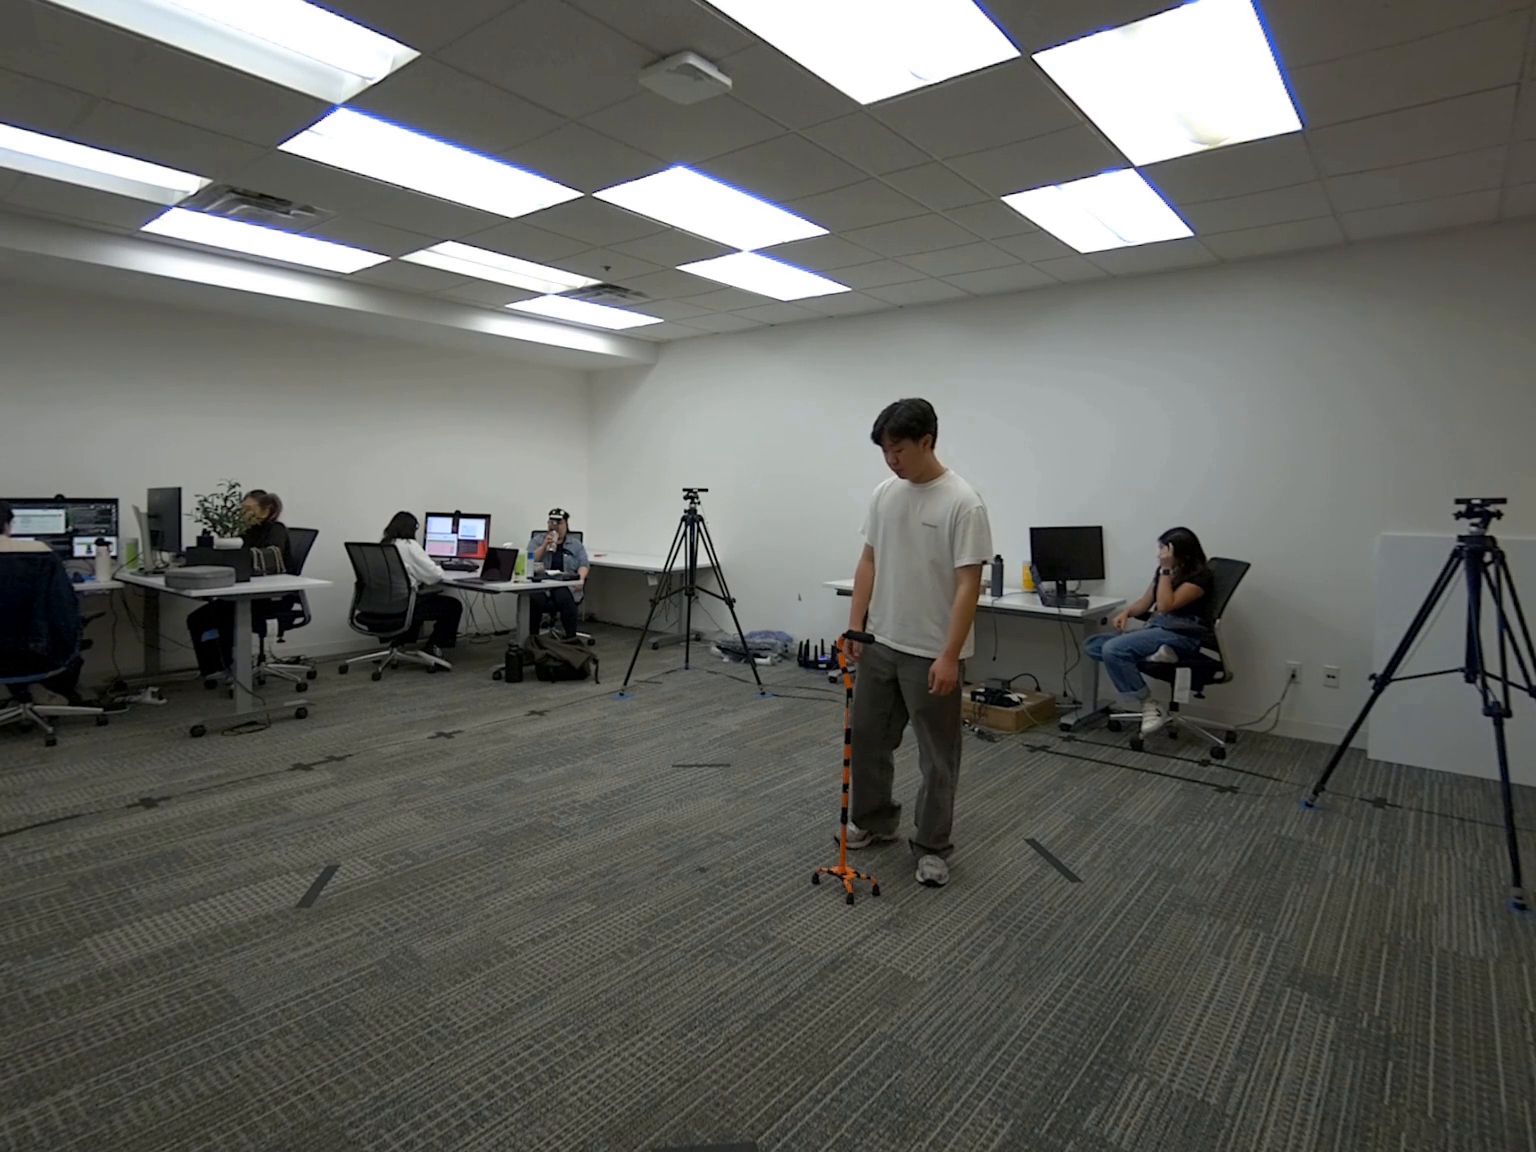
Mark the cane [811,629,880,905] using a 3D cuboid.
[{"bbox_3d":[0.289,0.634,2.957,0.147,0.905,0.213,-1,4,-38],"label":"cane"}]
